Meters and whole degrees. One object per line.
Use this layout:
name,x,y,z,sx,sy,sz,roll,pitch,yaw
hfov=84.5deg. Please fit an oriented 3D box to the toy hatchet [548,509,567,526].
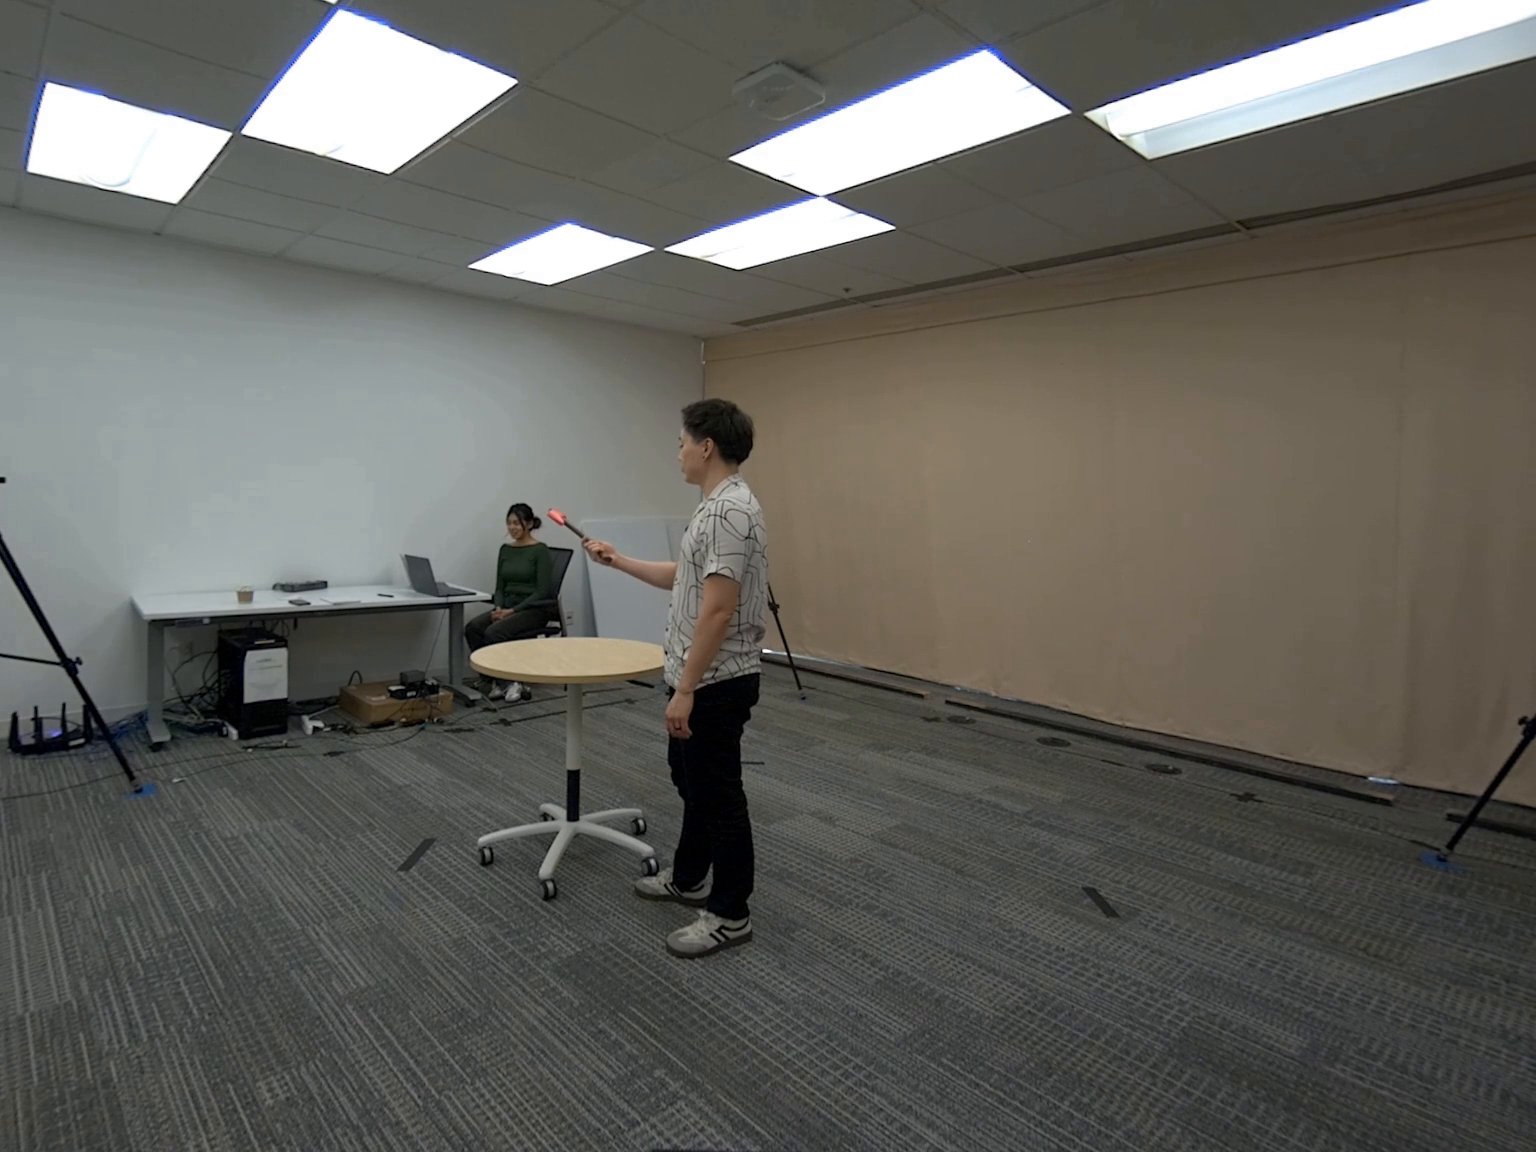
toy hatchet,-0.623,-0.146,2.708,0.278,0.029,0.127,39,5,30
